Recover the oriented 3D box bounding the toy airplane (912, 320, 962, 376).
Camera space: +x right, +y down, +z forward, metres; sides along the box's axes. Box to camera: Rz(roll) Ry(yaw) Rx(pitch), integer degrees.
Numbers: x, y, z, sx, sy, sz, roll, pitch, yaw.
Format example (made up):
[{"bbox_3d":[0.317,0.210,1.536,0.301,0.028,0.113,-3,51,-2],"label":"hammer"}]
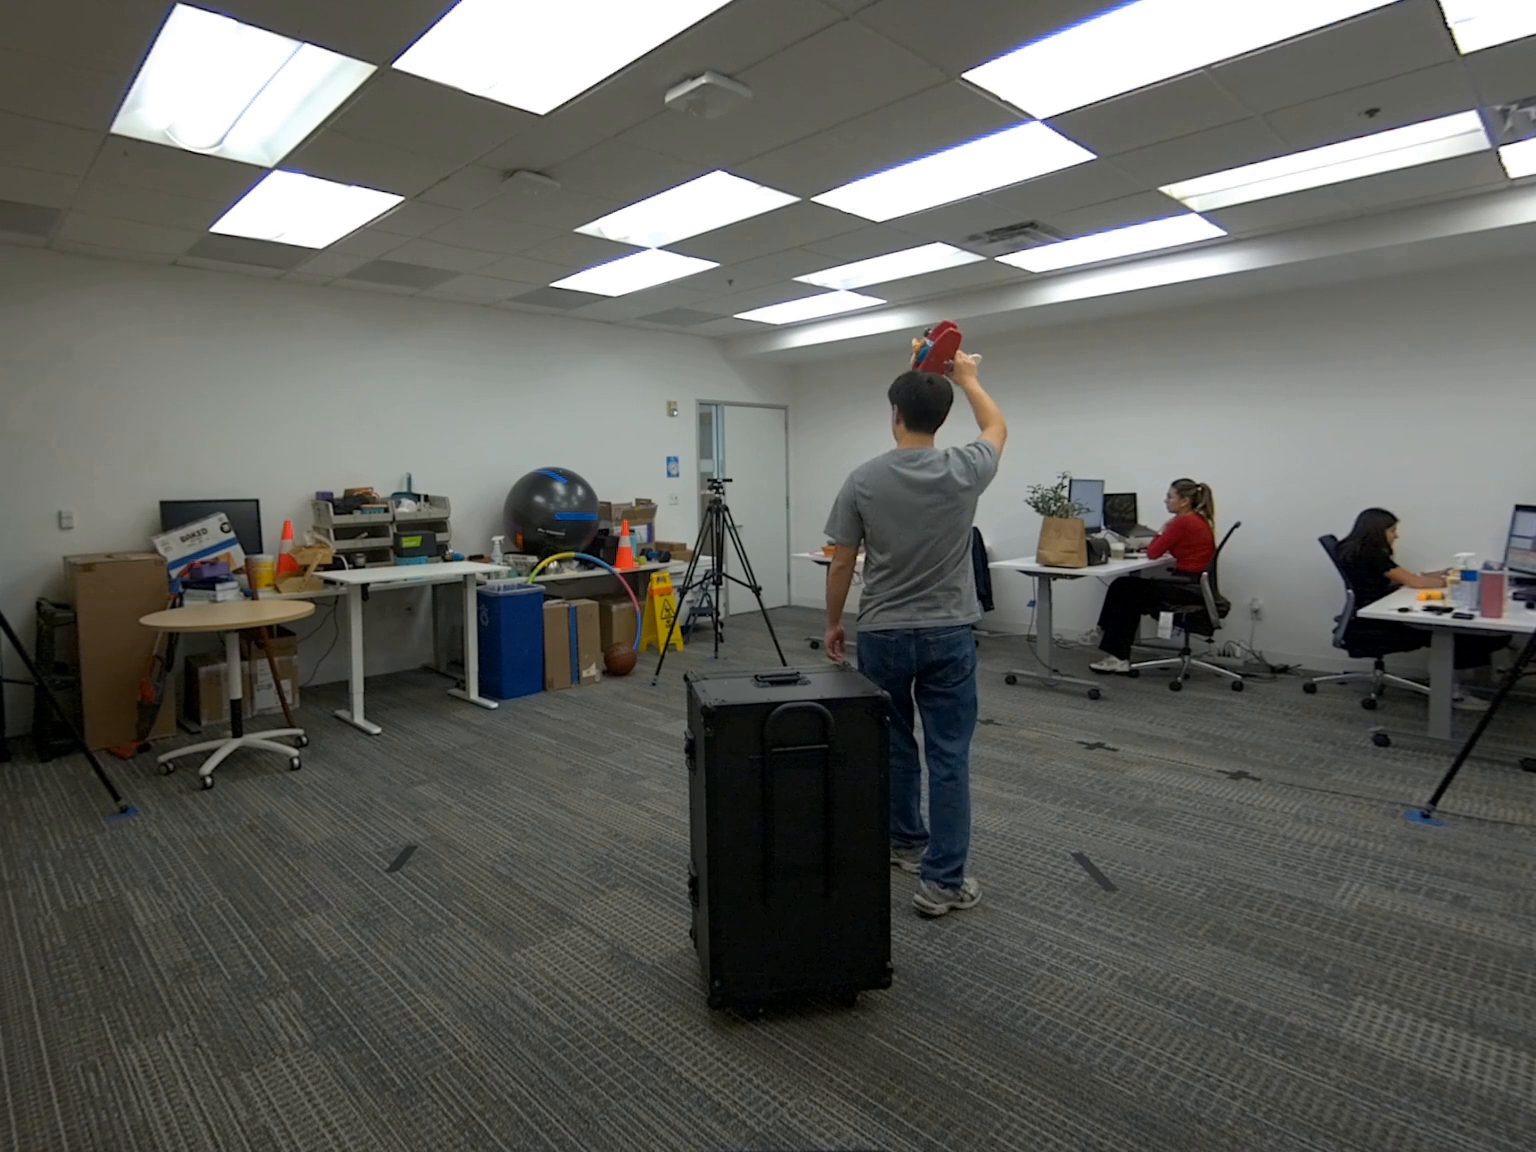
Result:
[{"bbox_3d":[0.667,-0.836,3.201,0.263,0.244,0.158,3,33,13],"label":"toy airplane"}]
